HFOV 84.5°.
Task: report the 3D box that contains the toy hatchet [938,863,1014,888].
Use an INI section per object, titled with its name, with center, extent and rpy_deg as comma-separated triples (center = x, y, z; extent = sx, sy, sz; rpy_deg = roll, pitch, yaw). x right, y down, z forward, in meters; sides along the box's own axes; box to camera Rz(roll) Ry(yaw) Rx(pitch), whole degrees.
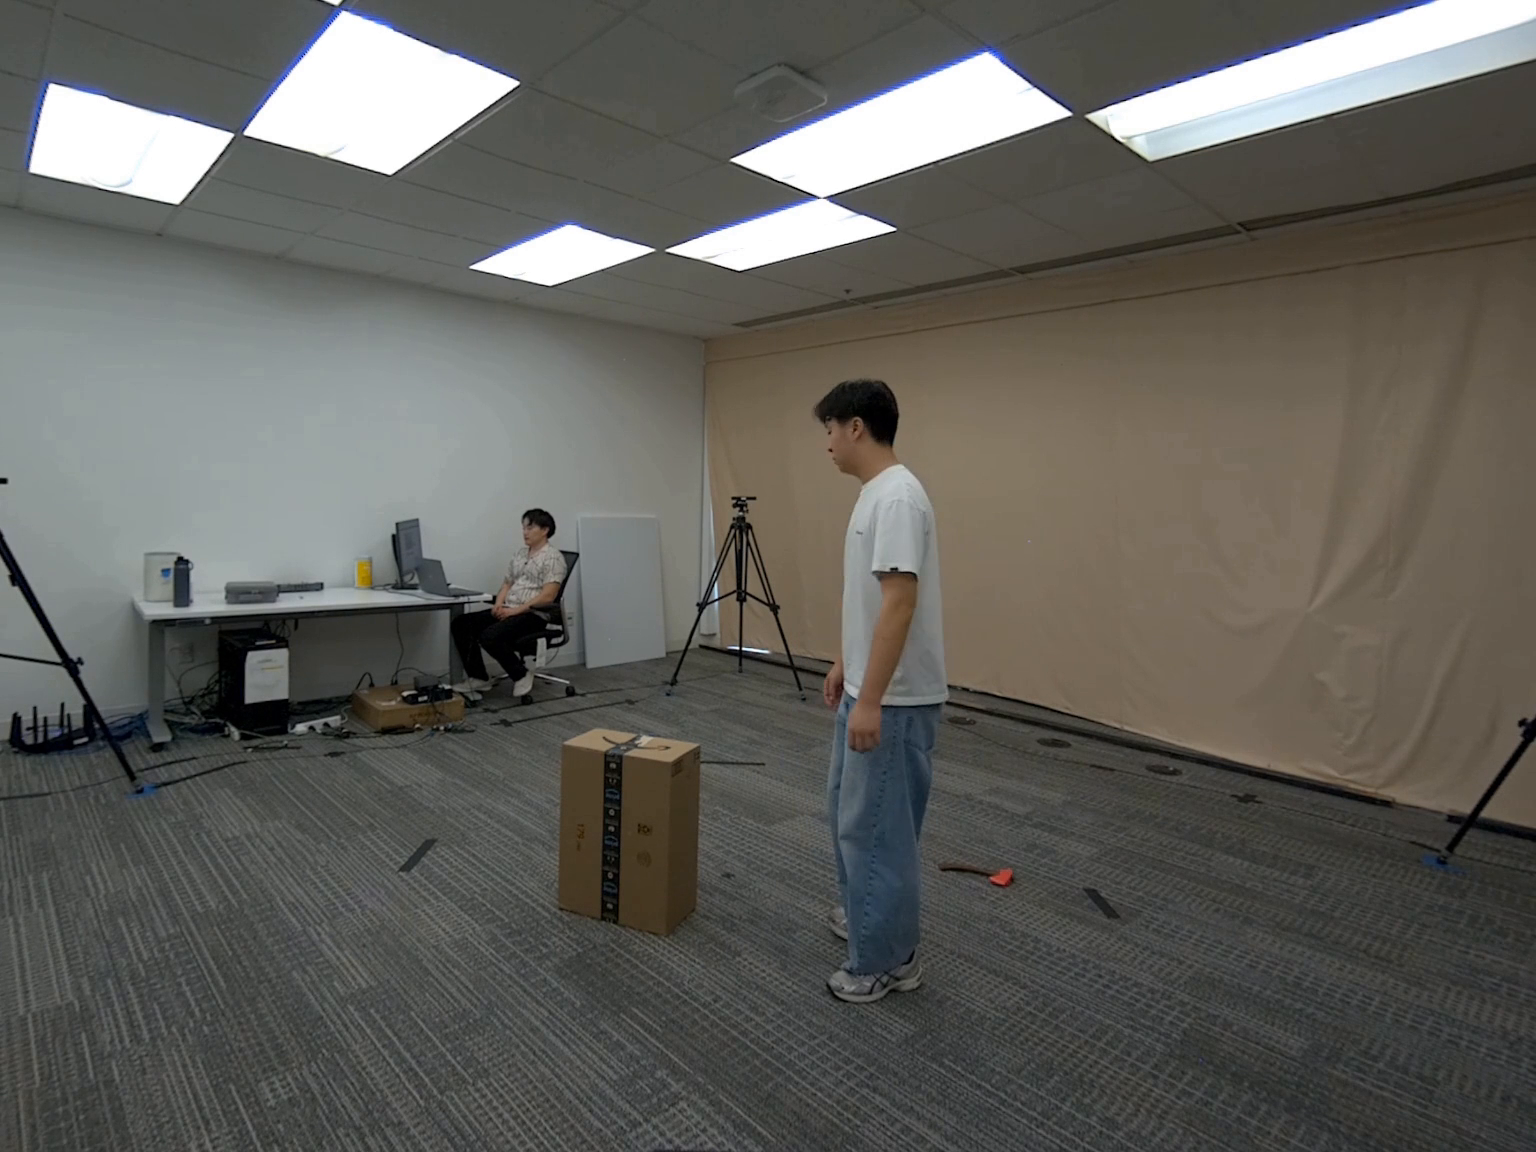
[toy hatchet]
center = 0.771, 1.113, 3.143
extent = 0.272, 0.029, 0.131
rpy_deg = 0, 9, 10
